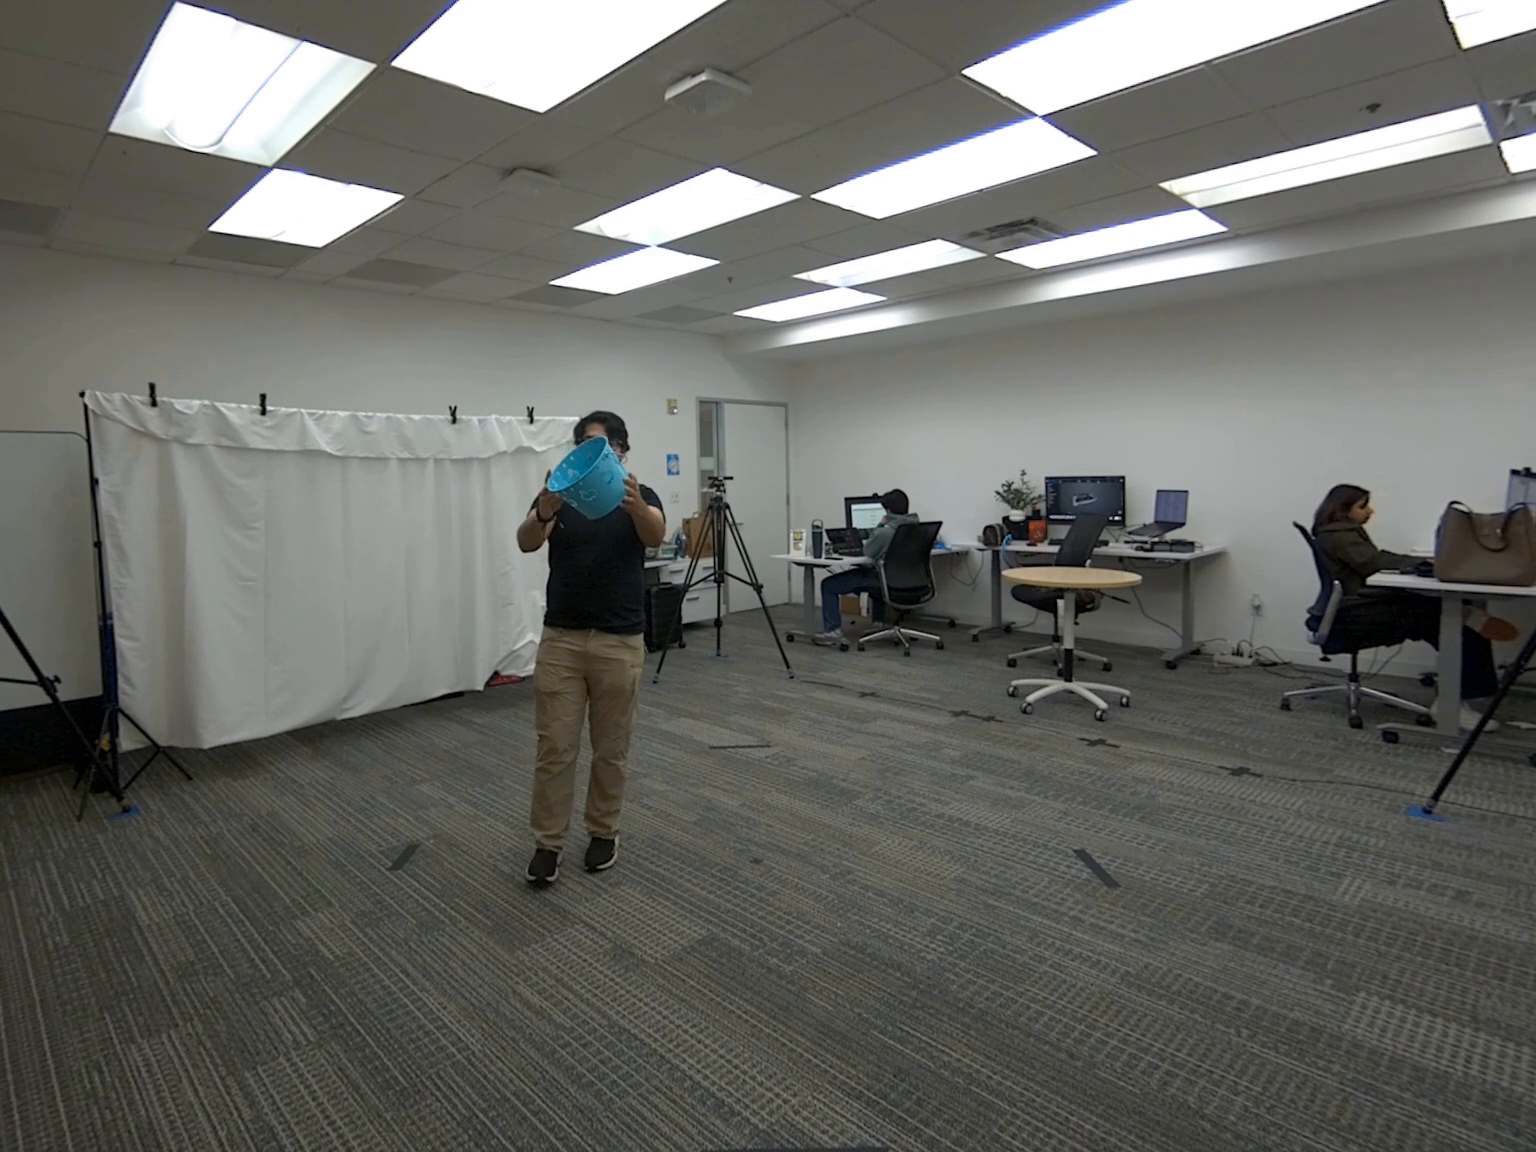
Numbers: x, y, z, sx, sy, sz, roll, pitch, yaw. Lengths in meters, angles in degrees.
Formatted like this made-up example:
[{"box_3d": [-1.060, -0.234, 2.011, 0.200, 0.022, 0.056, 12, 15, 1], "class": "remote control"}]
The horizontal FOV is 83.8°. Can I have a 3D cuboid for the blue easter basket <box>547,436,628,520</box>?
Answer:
[{"box_3d": [-0.540, -0.285, 2.587, 0.245, 0.151, 0.250, -29, 31, 18], "class": "blue easter basket"}]
